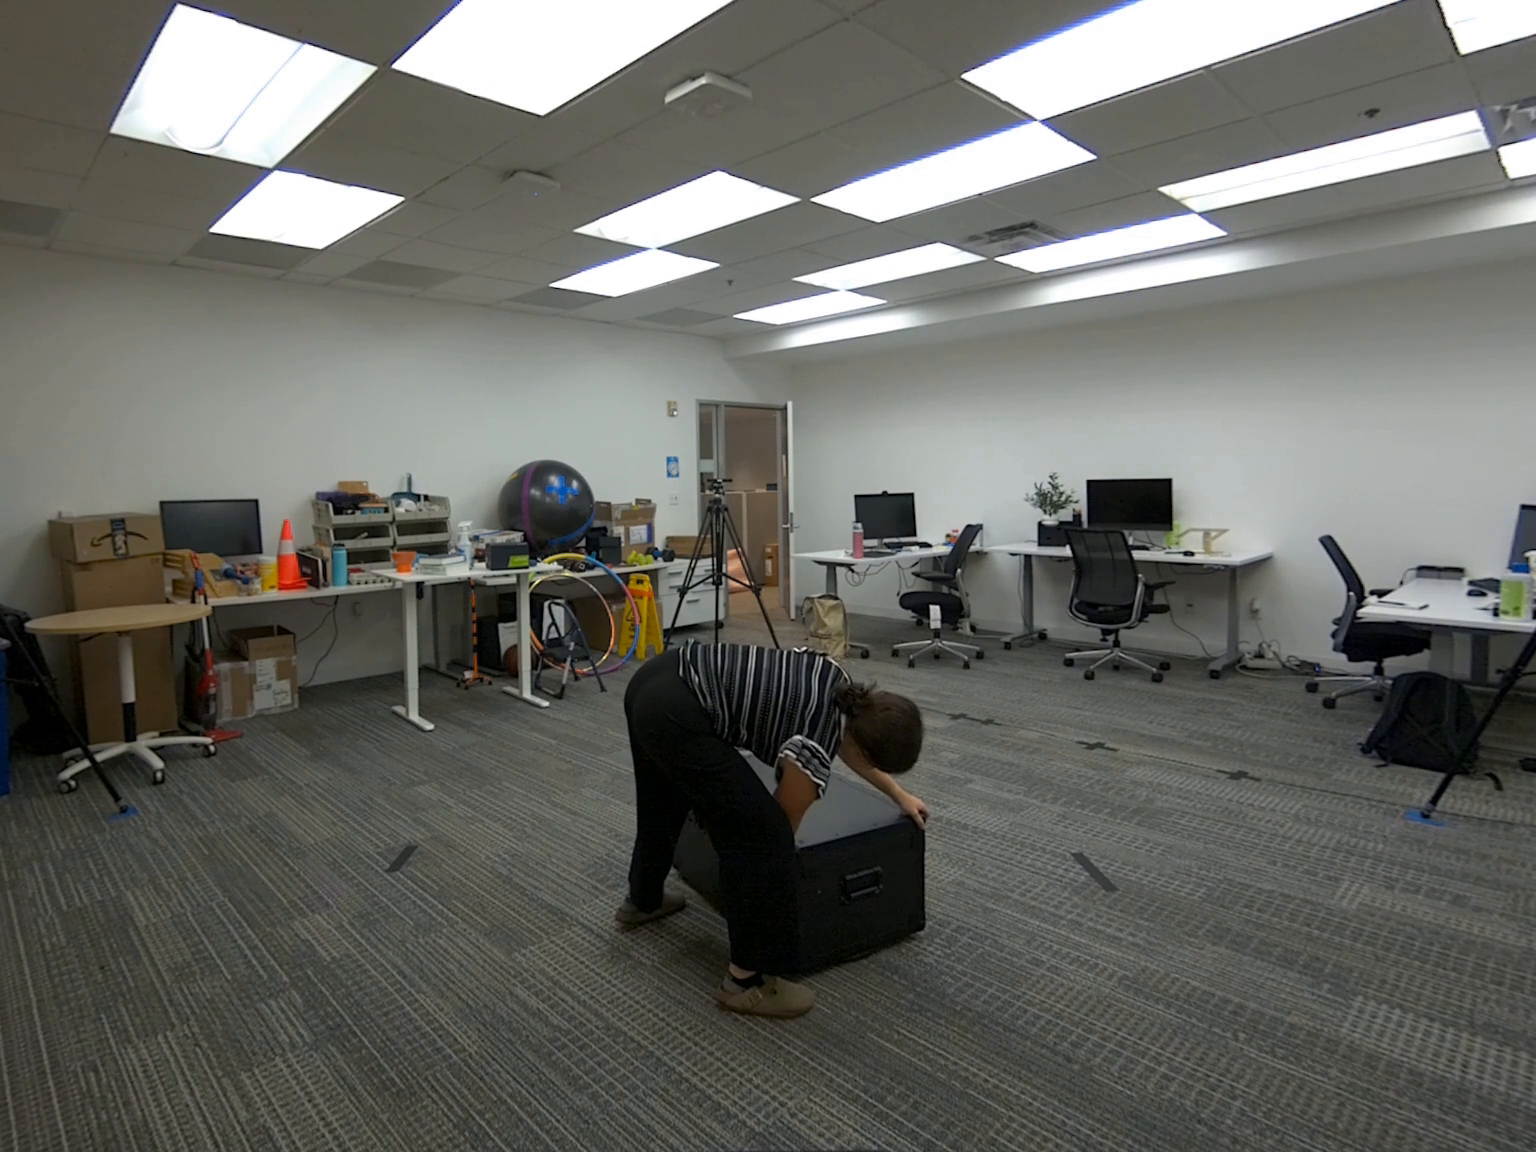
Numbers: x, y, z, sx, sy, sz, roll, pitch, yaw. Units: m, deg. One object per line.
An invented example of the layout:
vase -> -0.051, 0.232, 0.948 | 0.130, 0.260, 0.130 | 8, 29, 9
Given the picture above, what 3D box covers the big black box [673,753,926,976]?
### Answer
big black box -> 0.054, 0.881, 2.833 | 0.509, 0.394, 0.886 | -4, 7, -31
